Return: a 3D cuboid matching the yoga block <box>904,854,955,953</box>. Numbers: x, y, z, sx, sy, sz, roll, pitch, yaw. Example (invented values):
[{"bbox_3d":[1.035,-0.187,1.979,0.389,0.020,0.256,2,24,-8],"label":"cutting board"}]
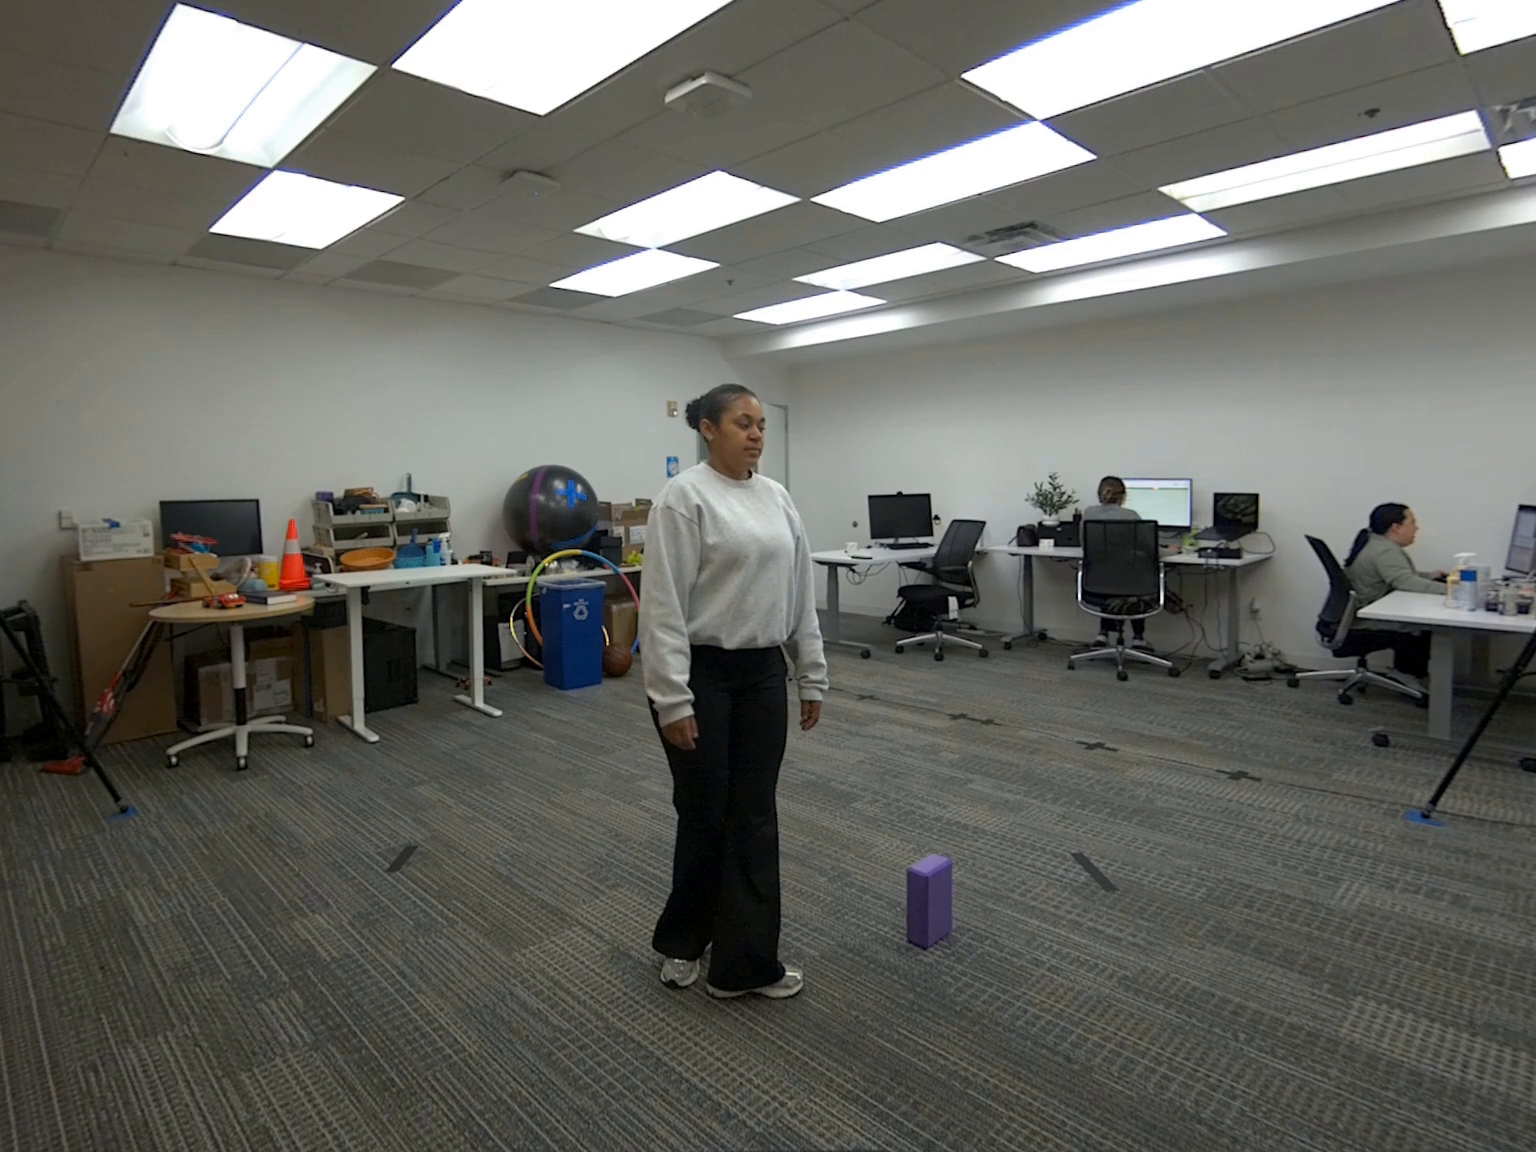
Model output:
[{"bbox_3d":[0.493,0.979,2.583,0.145,0.229,0.079,-4,4,-45],"label":"yoga block"}]
